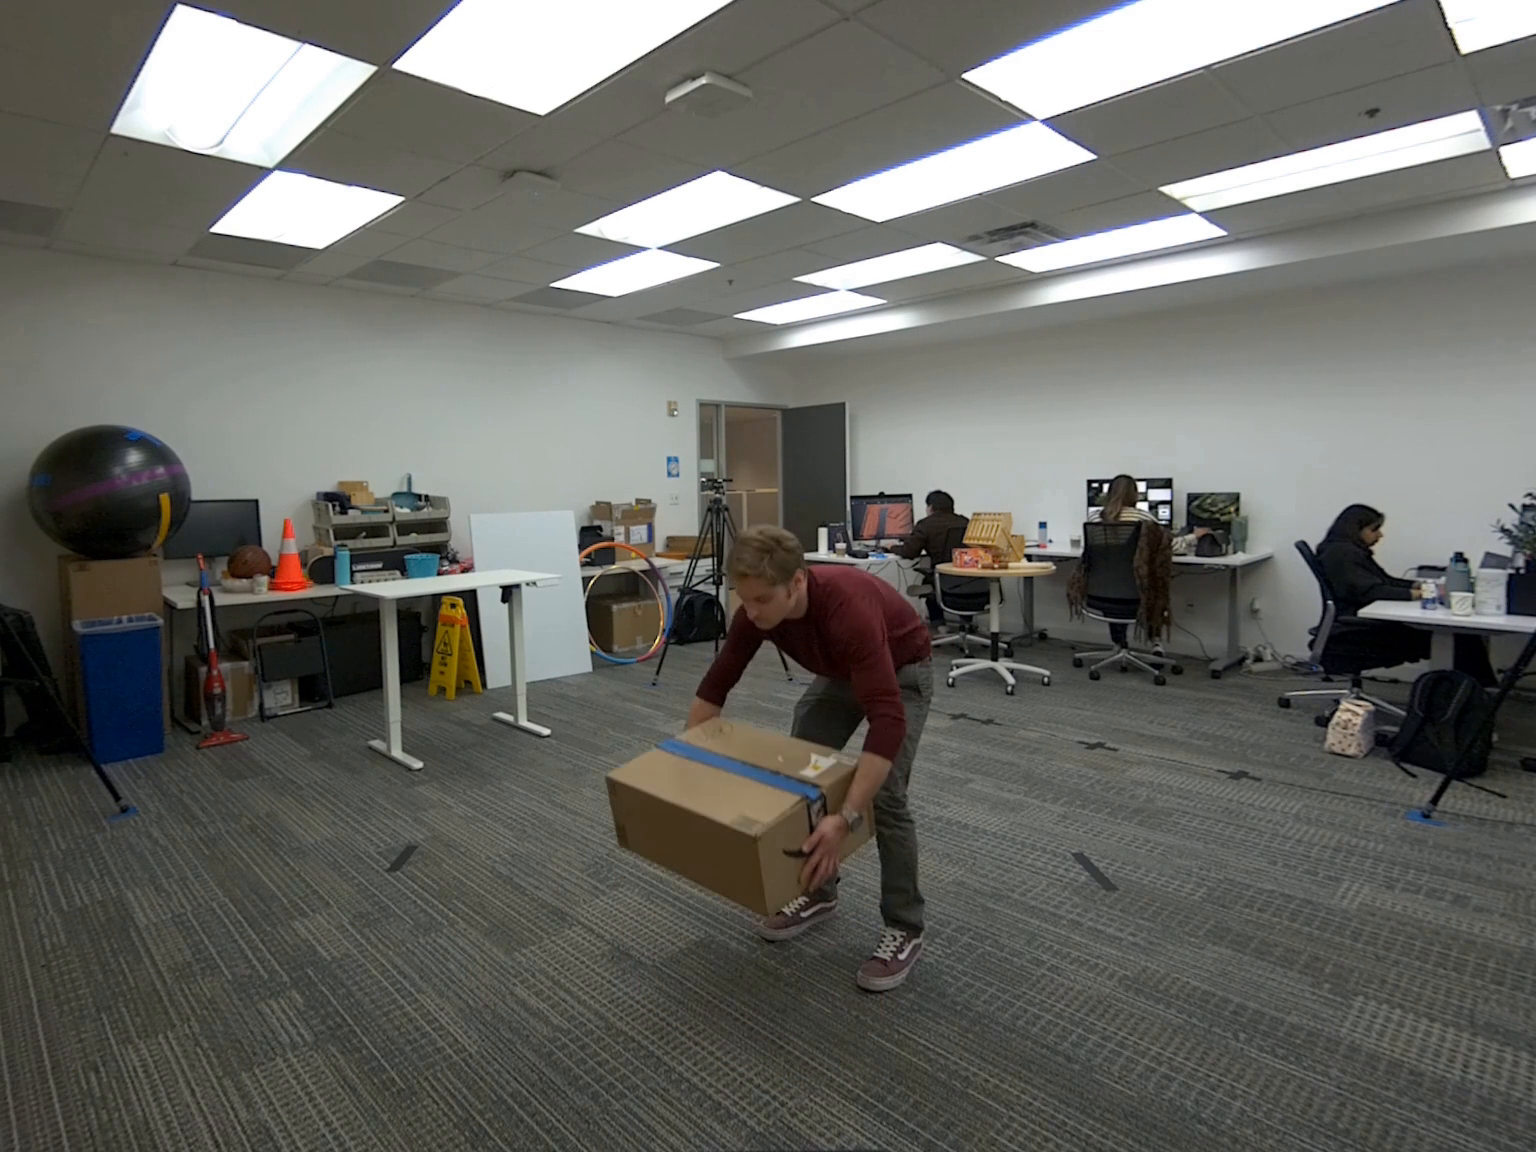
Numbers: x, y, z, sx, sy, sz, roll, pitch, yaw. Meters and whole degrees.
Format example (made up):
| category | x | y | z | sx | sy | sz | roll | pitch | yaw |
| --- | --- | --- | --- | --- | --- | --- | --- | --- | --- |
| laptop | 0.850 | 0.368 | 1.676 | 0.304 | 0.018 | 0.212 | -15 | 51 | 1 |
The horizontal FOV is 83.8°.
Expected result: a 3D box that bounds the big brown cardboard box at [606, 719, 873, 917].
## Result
| category | x | y | z | sx | sy | sz | roll | pitch | yaw |
| --- | --- | --- | --- | --- | --- | --- | --- | --- | --- |
| big brown cardboard box | -0.076 | 0.587 | 2.244 | 0.410 | 0.230 | 0.607 | -20 | 17 | -42 |
